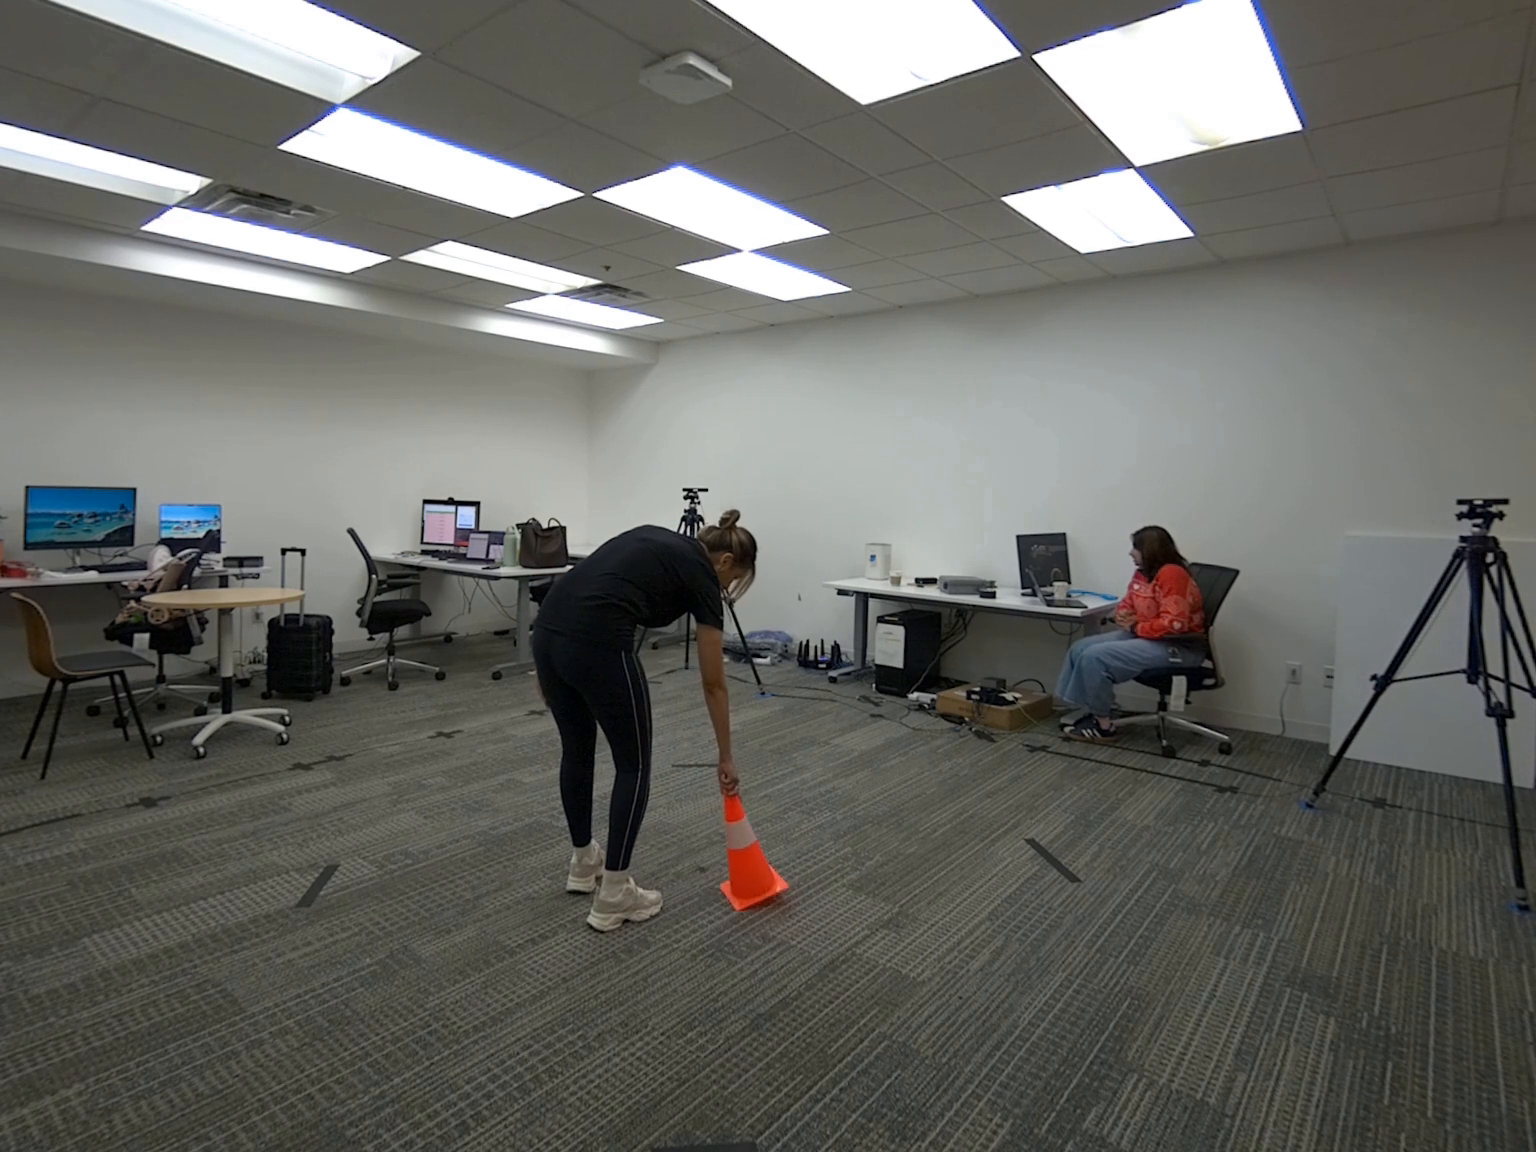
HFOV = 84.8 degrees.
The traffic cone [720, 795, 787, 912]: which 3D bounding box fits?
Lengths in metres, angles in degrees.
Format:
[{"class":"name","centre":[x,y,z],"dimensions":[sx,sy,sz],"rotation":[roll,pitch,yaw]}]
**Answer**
[{"class":"traffic cone","centre":[-0.114,0.893,2.911],"dimensions":[0.202,0.381,0.208],"rotation":[-18,7,-20]}]
